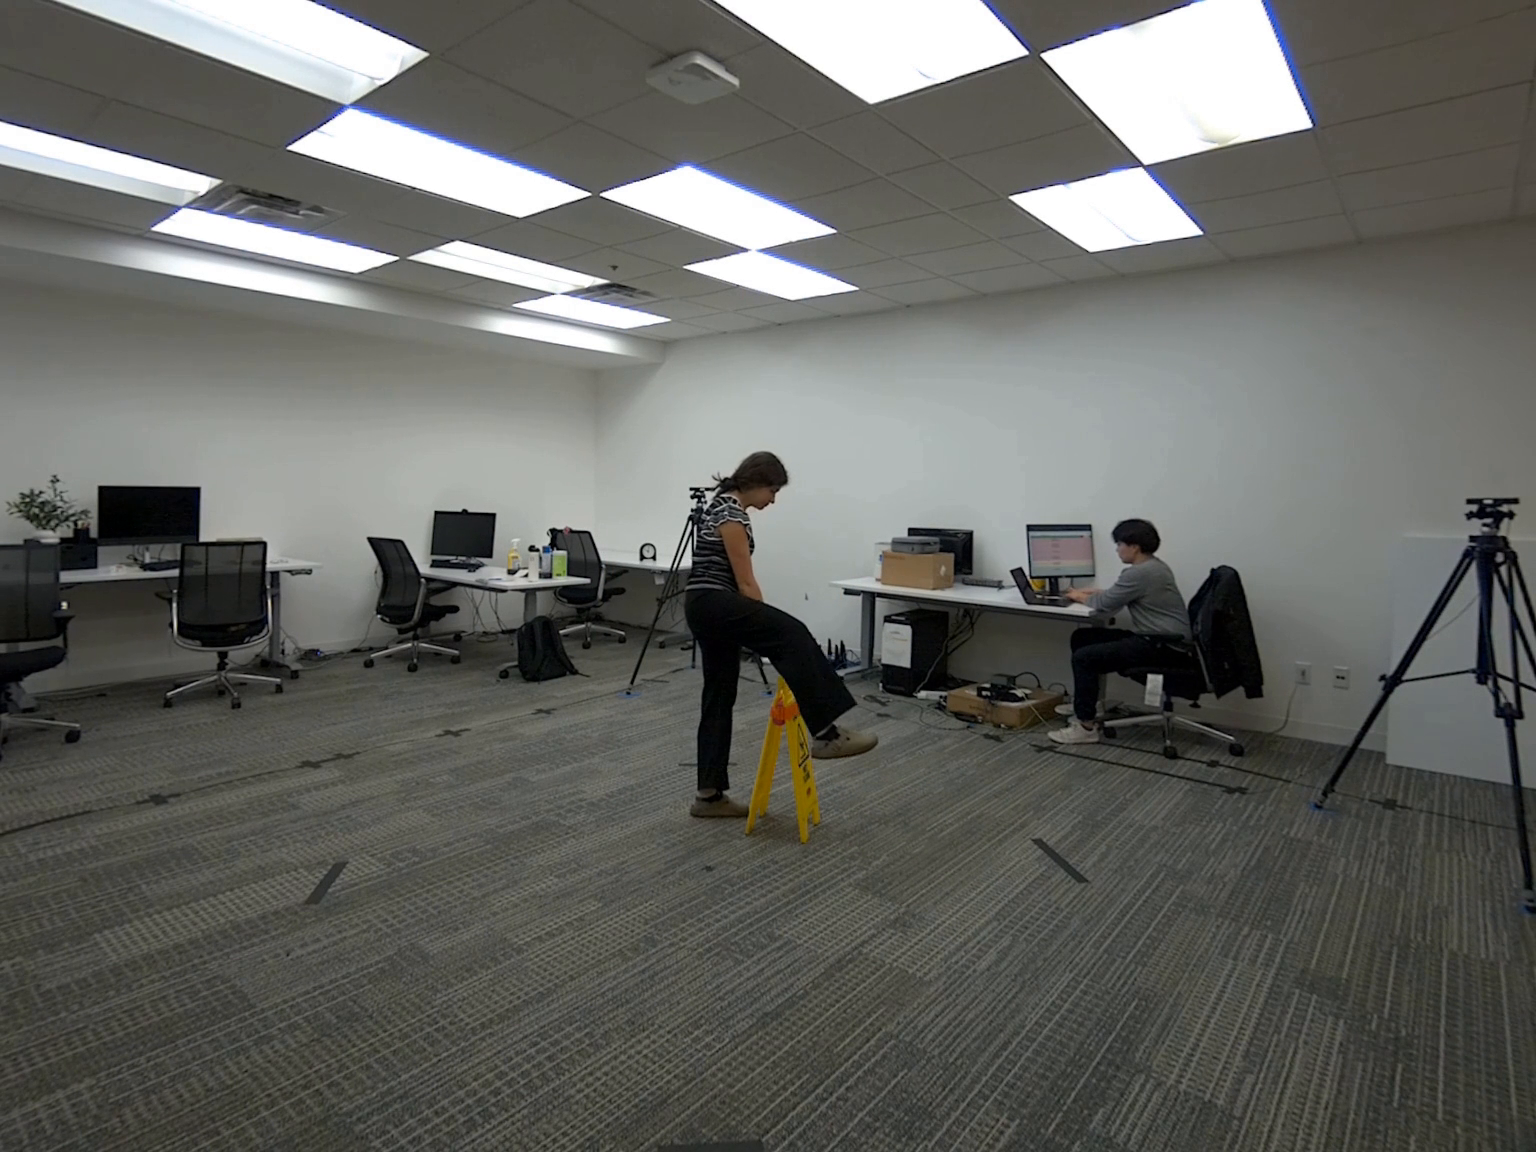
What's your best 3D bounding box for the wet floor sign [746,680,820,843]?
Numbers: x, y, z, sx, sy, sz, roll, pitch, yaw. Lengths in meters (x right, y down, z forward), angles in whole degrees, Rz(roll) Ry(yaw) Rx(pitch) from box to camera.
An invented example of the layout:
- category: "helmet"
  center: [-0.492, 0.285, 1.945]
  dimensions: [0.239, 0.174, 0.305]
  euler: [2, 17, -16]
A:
- category: "wet floor sign"
  center: [0.065, 0.711, 3.500]
  dimensions: [0.295, 0.644, 0.278]
  euler: [3, 4, 15]
